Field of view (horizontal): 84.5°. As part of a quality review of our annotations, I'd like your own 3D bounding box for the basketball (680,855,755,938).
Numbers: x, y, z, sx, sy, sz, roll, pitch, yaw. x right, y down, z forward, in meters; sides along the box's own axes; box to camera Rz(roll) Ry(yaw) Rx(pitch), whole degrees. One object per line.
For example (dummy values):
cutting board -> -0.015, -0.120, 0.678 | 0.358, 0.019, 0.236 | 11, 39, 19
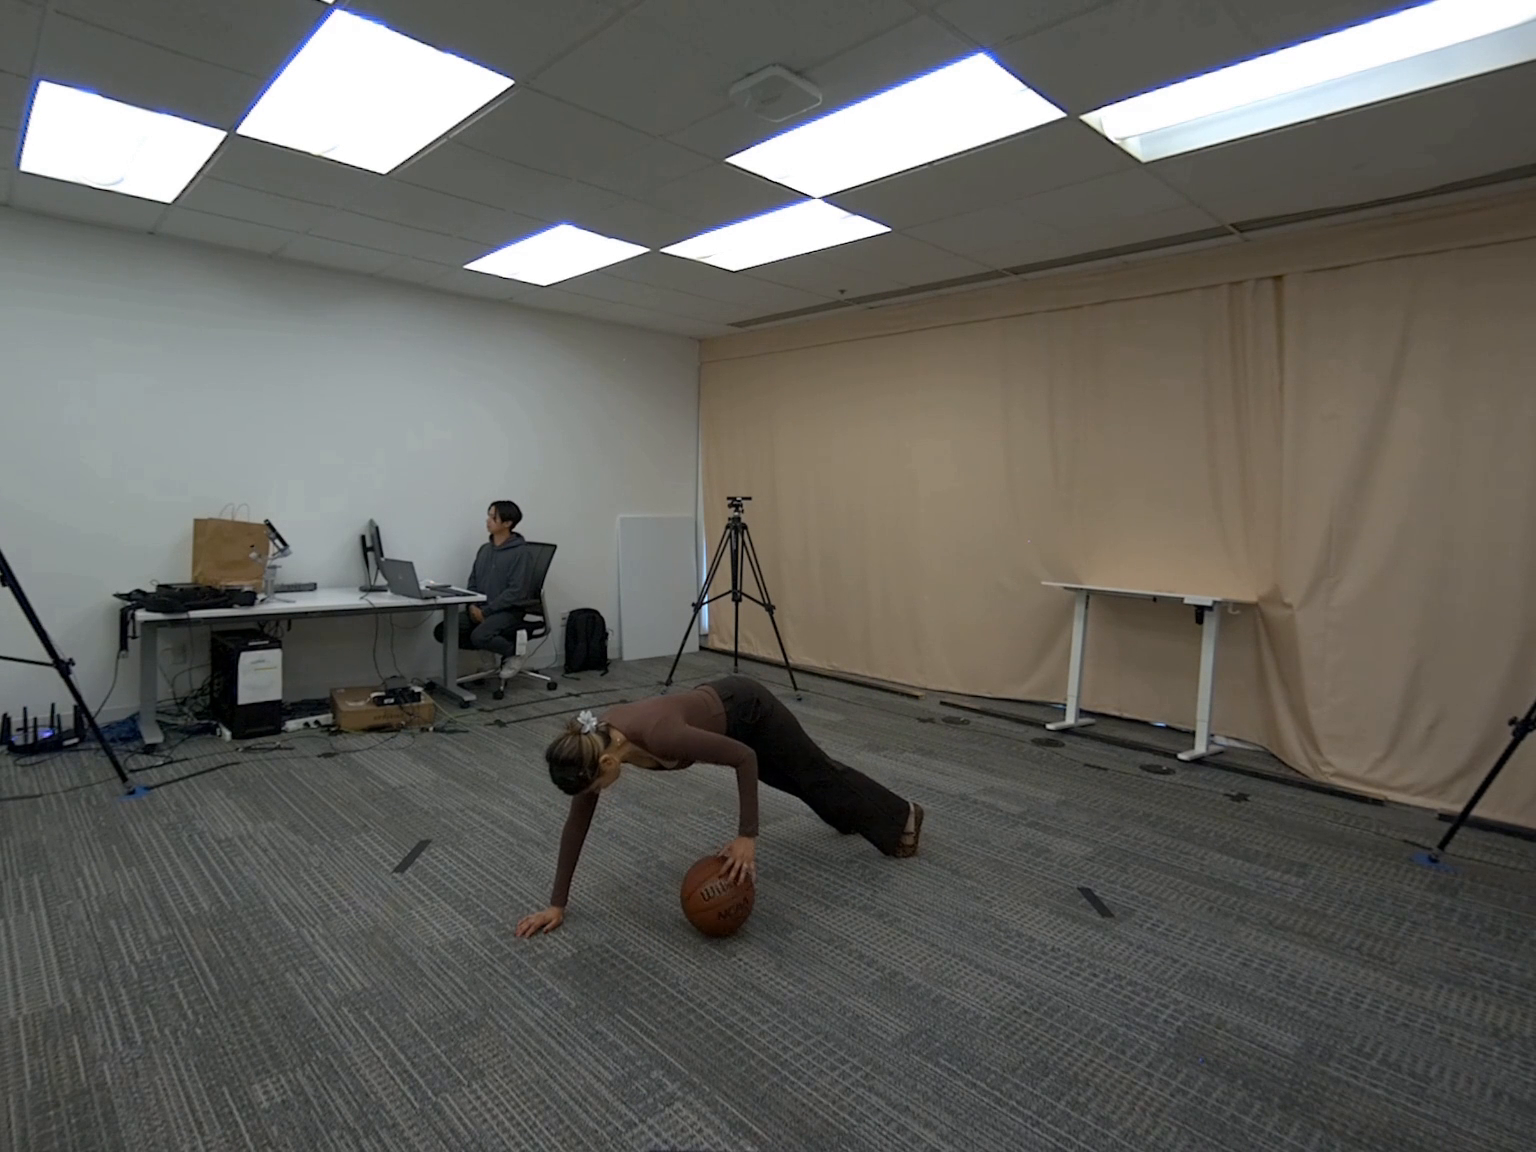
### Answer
basketball -> -0.163, 1.024, 2.693 | 0.236, 0.235, 0.237 | 1, 4, -1
